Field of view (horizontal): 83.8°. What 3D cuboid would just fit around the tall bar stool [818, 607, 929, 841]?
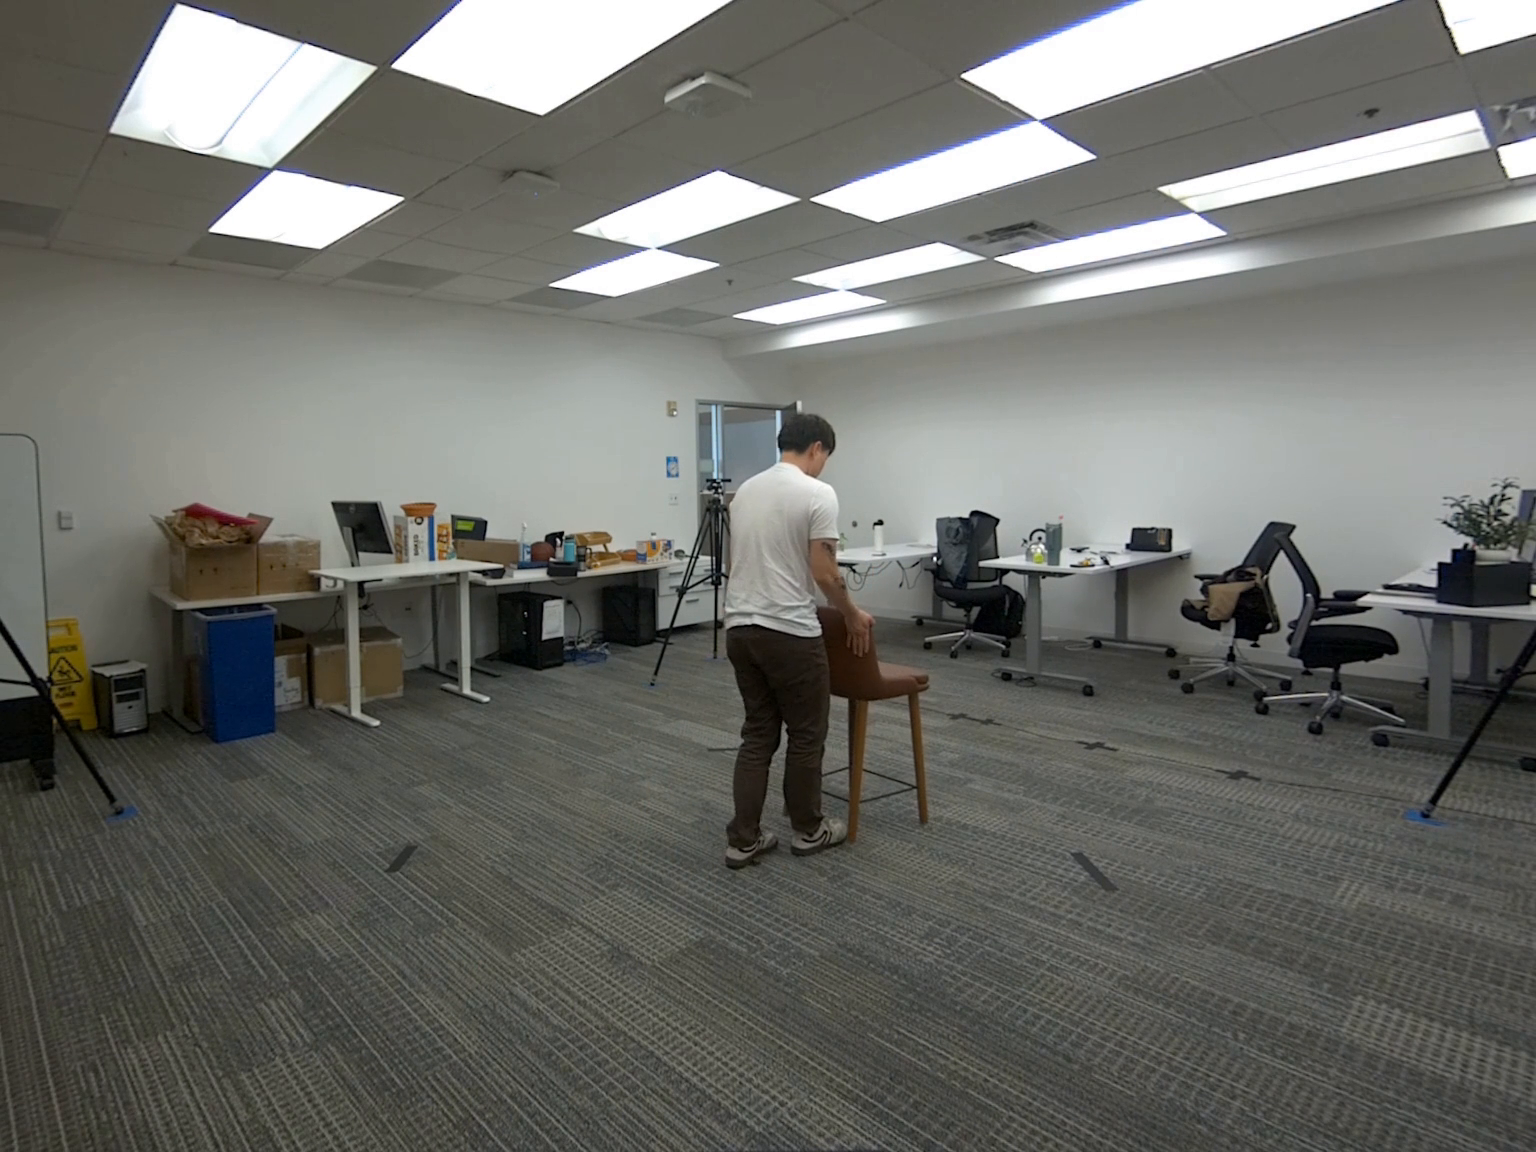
[{"bbox_3d":[0.358,0.547,3.453,0.455,0.887,0.470,-2,4,-41],"label":"tall bar stool"}]
